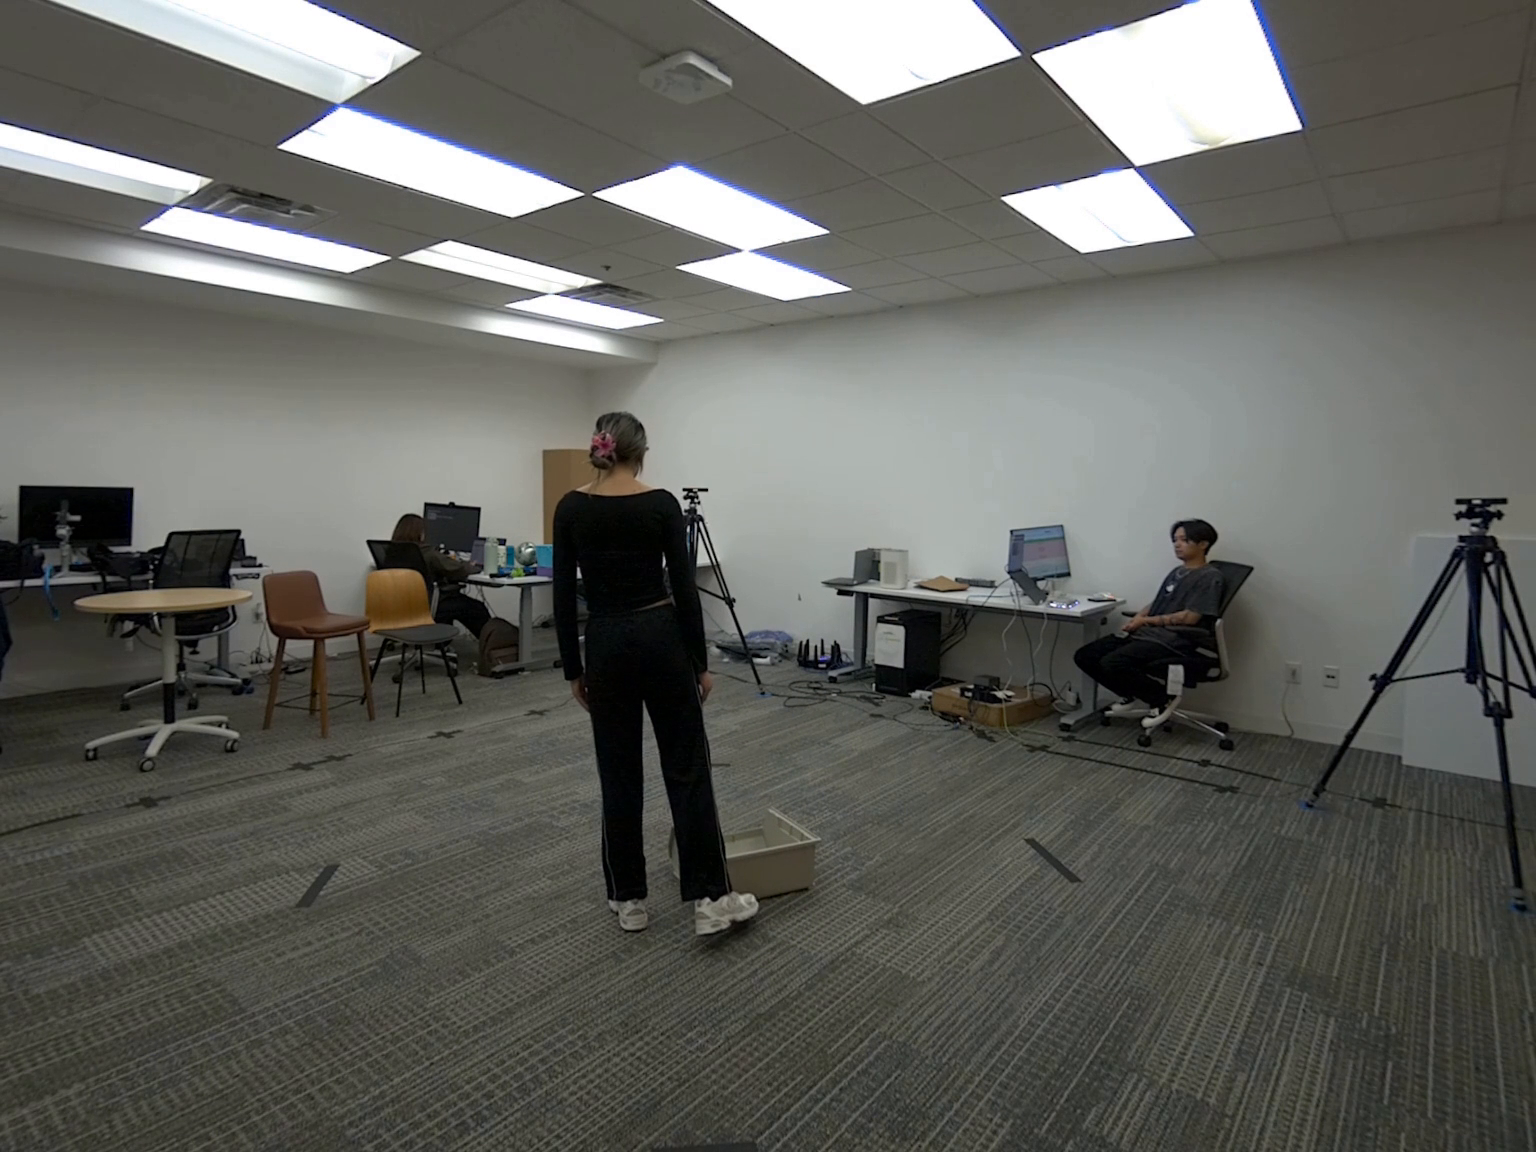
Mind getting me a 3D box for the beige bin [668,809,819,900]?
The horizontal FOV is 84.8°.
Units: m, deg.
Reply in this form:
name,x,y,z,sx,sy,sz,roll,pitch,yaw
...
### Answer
name,x,y,z,sx,sy,sz,roll,pitch,yaw
beige bin,-0.101,0.992,3.034,0.411,0.188,0.389,-1,6,-30
